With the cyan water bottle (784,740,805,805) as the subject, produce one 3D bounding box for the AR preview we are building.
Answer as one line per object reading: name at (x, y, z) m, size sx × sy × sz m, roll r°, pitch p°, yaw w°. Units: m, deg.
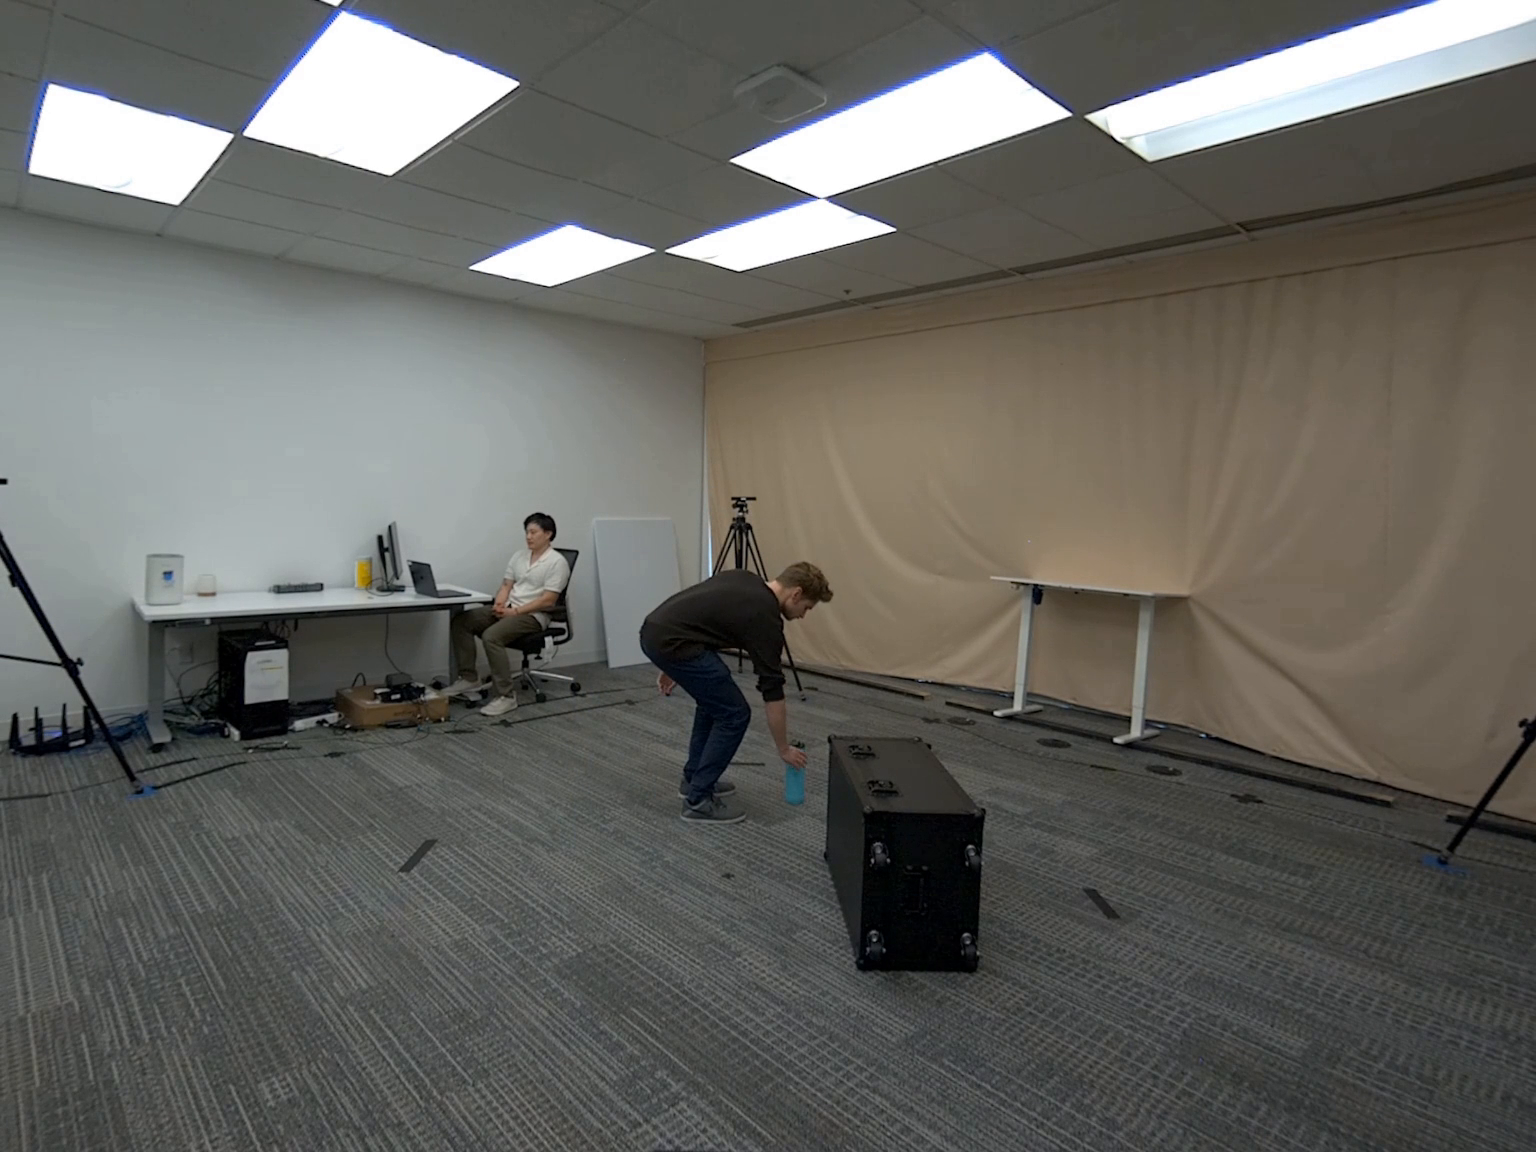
cyan water bottle at (0.118, 0.906, 3.923) m, size 0.092 × 0.283 × 0.092 m, roll 3°, pitch 1°, yaw -1°
